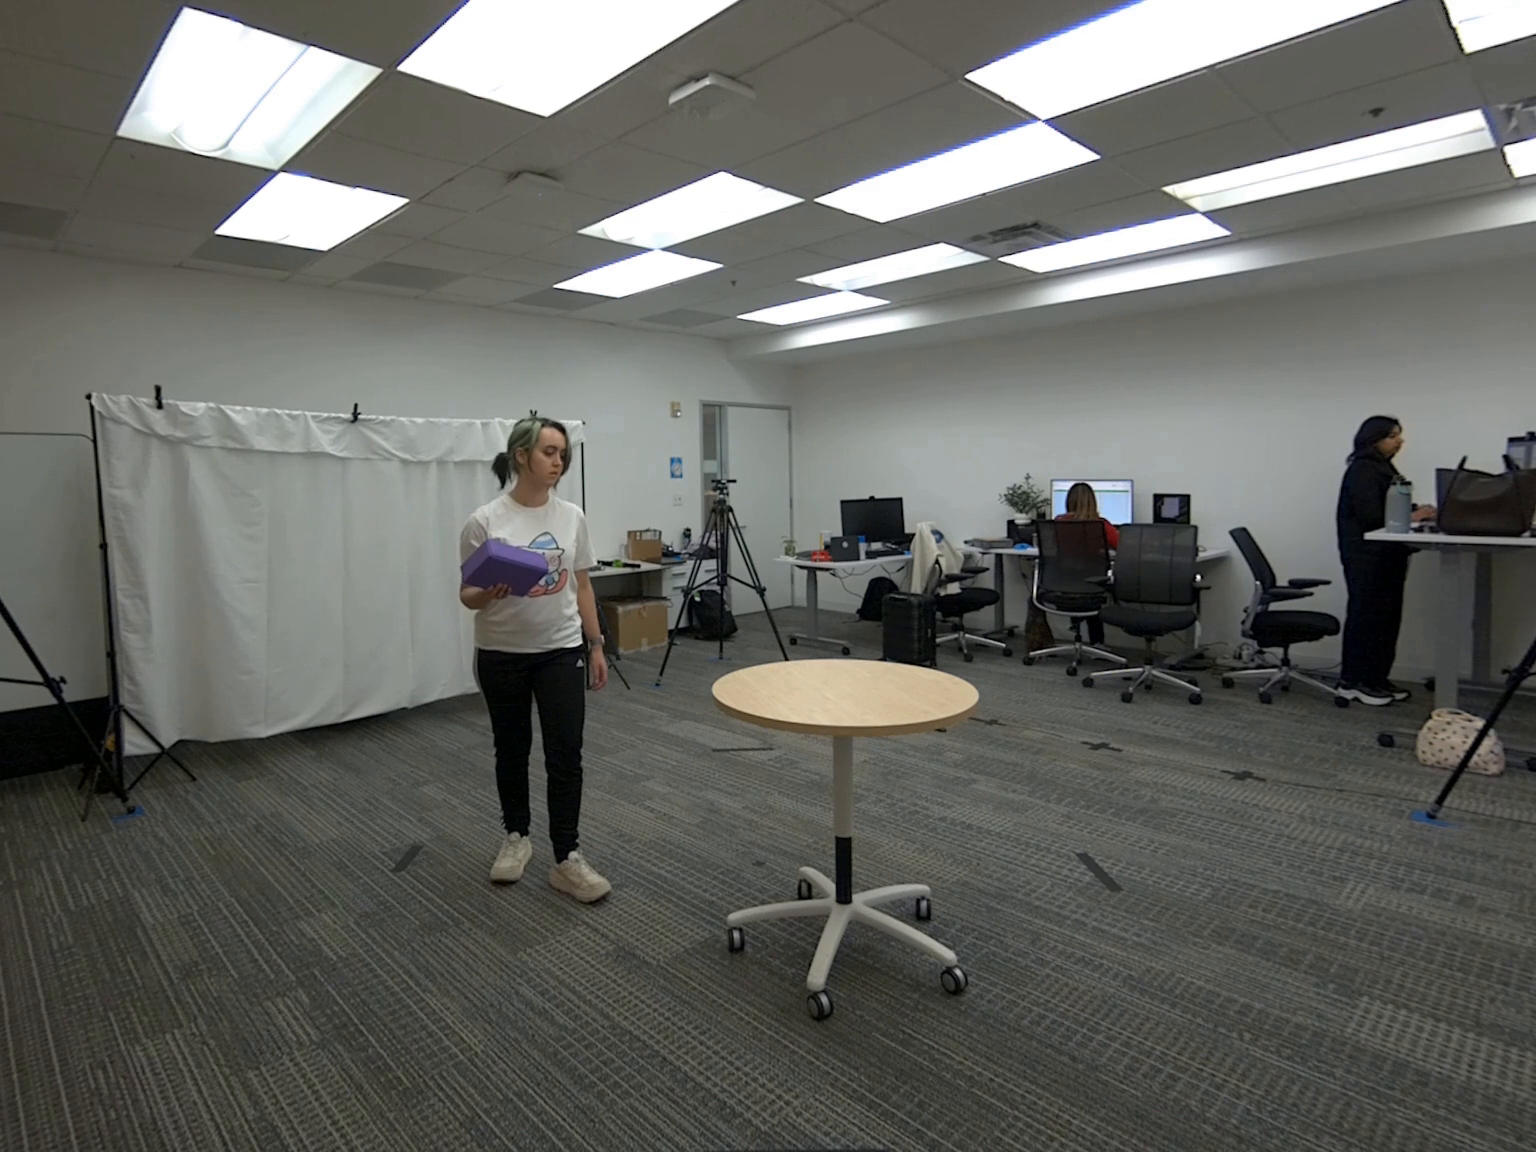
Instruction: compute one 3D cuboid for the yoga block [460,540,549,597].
[{"bbox_3d":[-0.812,-0.021,2.632,0.149,0.079,0.221,-40,-33,23],"label":"yoga block"}]
